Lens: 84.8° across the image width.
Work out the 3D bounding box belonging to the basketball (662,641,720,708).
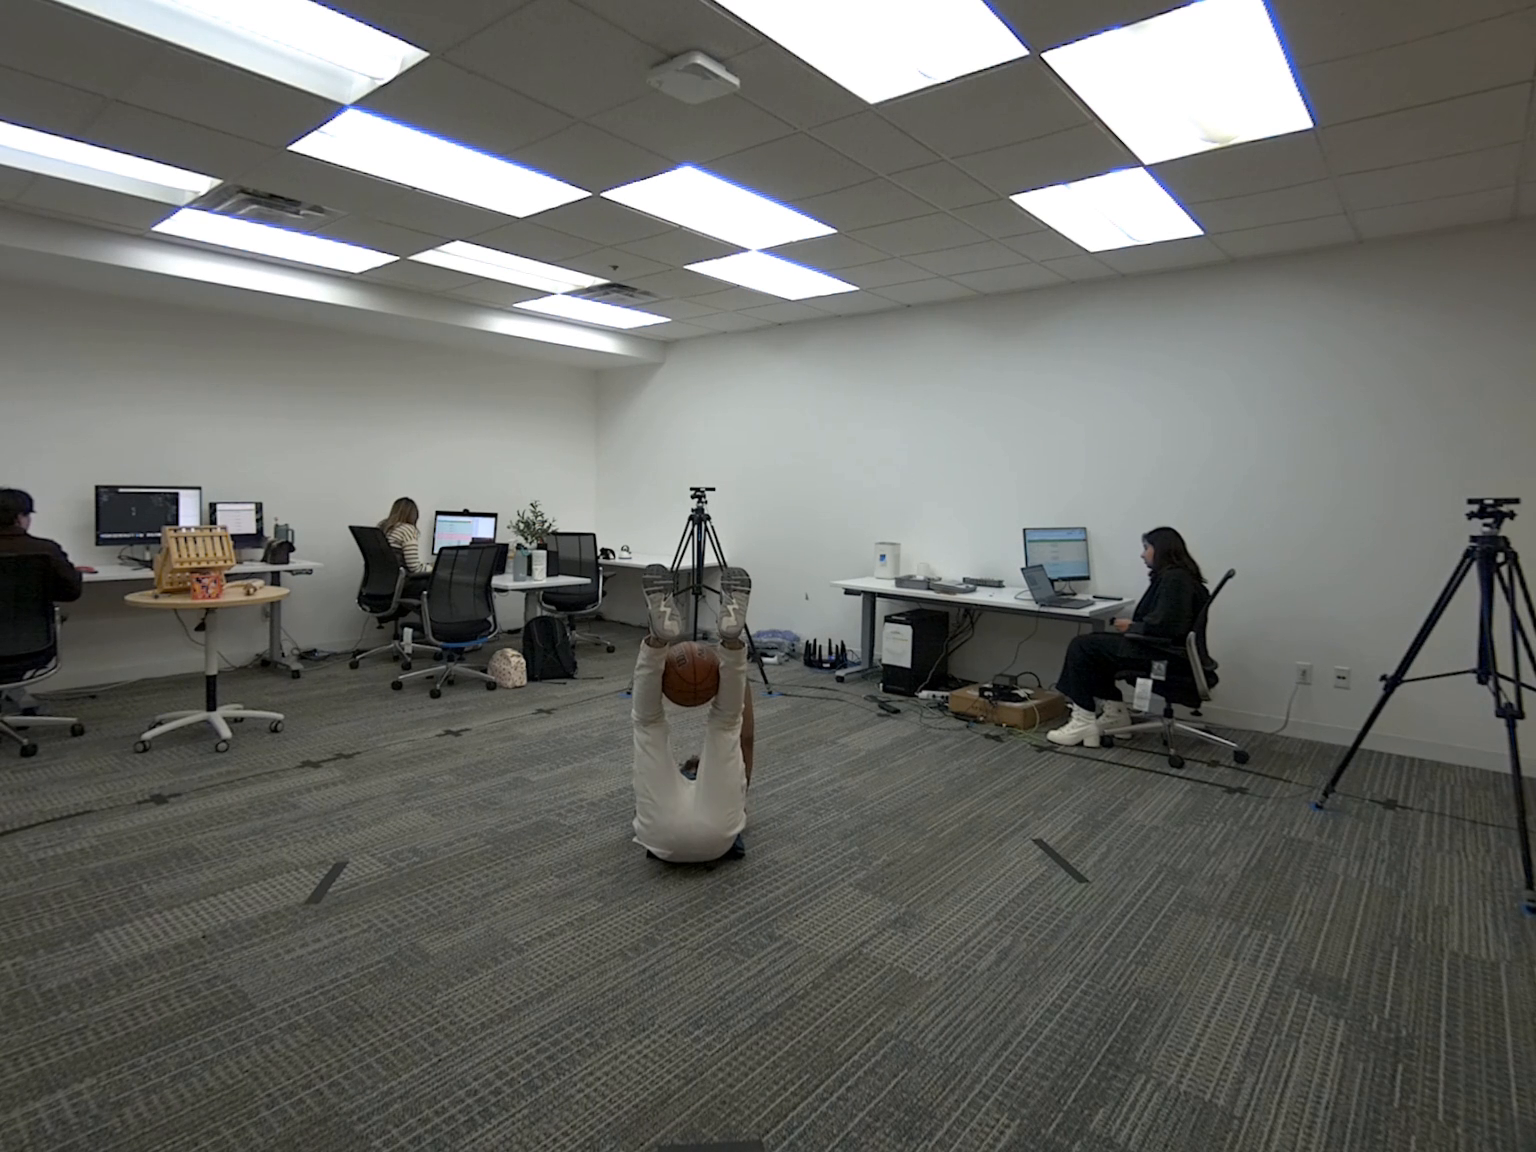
[{"bbox_3d":[-0.290,0.357,3.120,0.235,0.235,0.237,1,4,-2],"label":"basketball"}]
